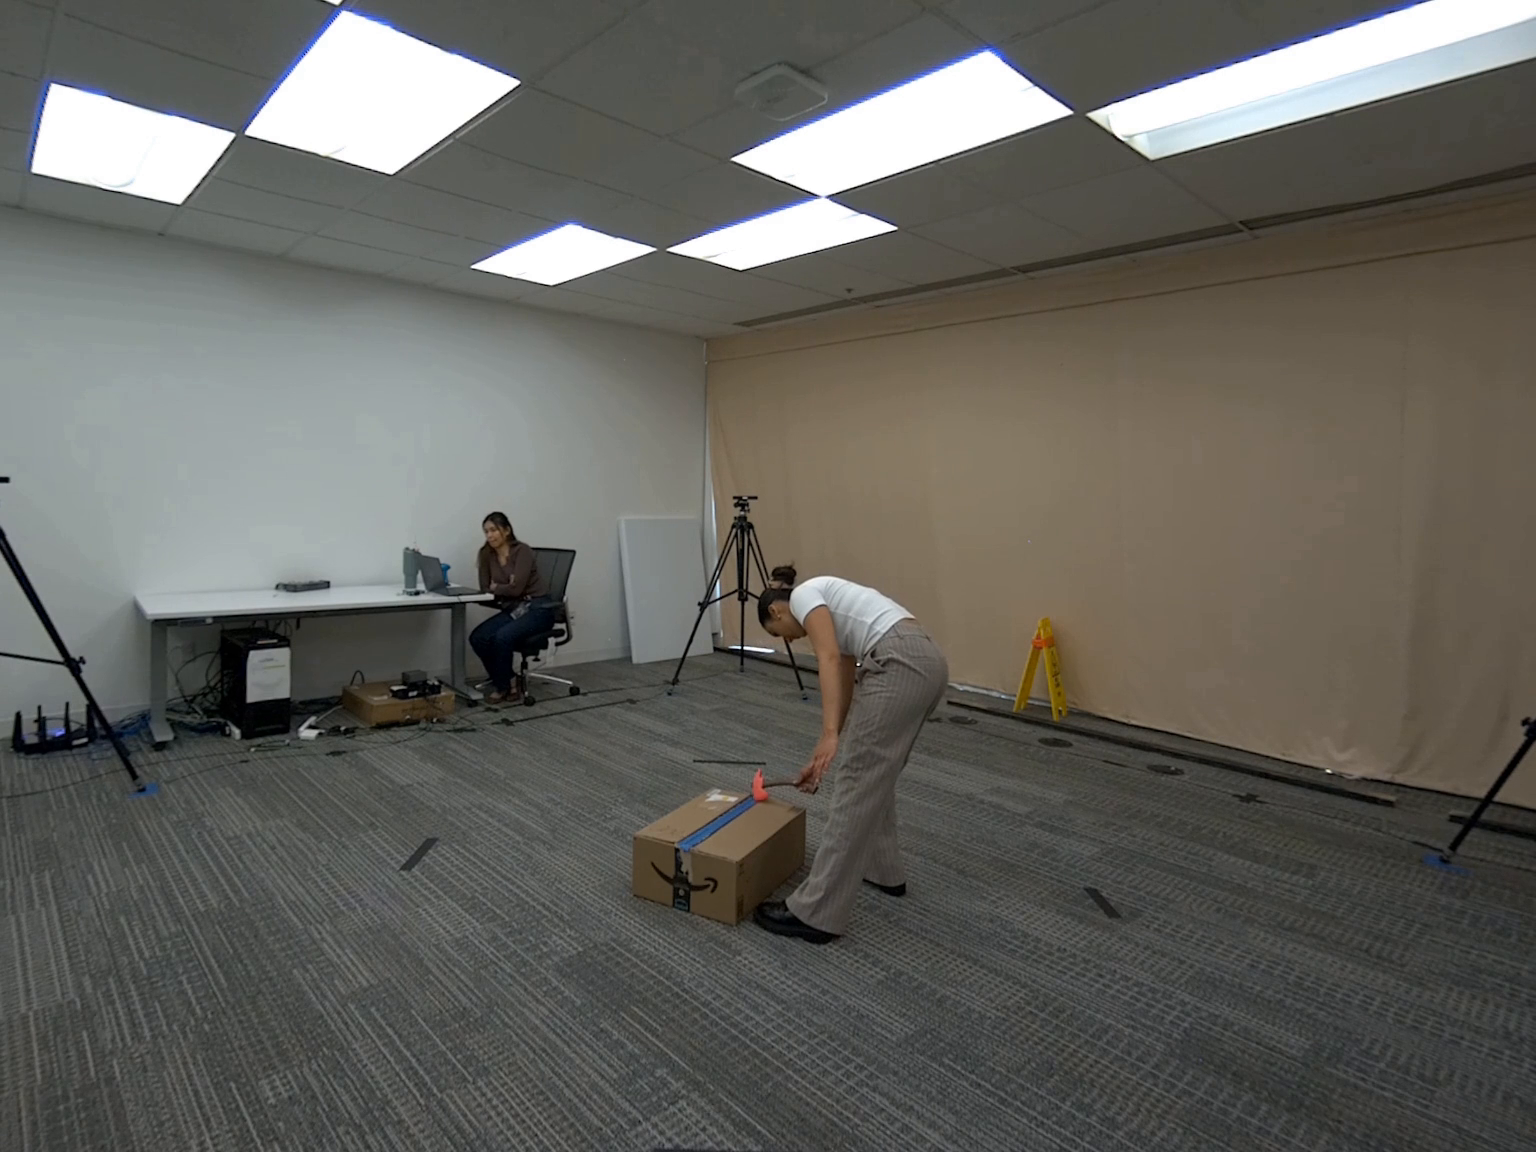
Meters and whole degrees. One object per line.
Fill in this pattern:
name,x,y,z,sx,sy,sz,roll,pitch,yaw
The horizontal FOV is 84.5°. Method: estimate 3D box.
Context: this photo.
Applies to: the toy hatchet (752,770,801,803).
toy hatchet,0.041,0.830,3.214,0.277,0.132,0.029,10,-34,33
